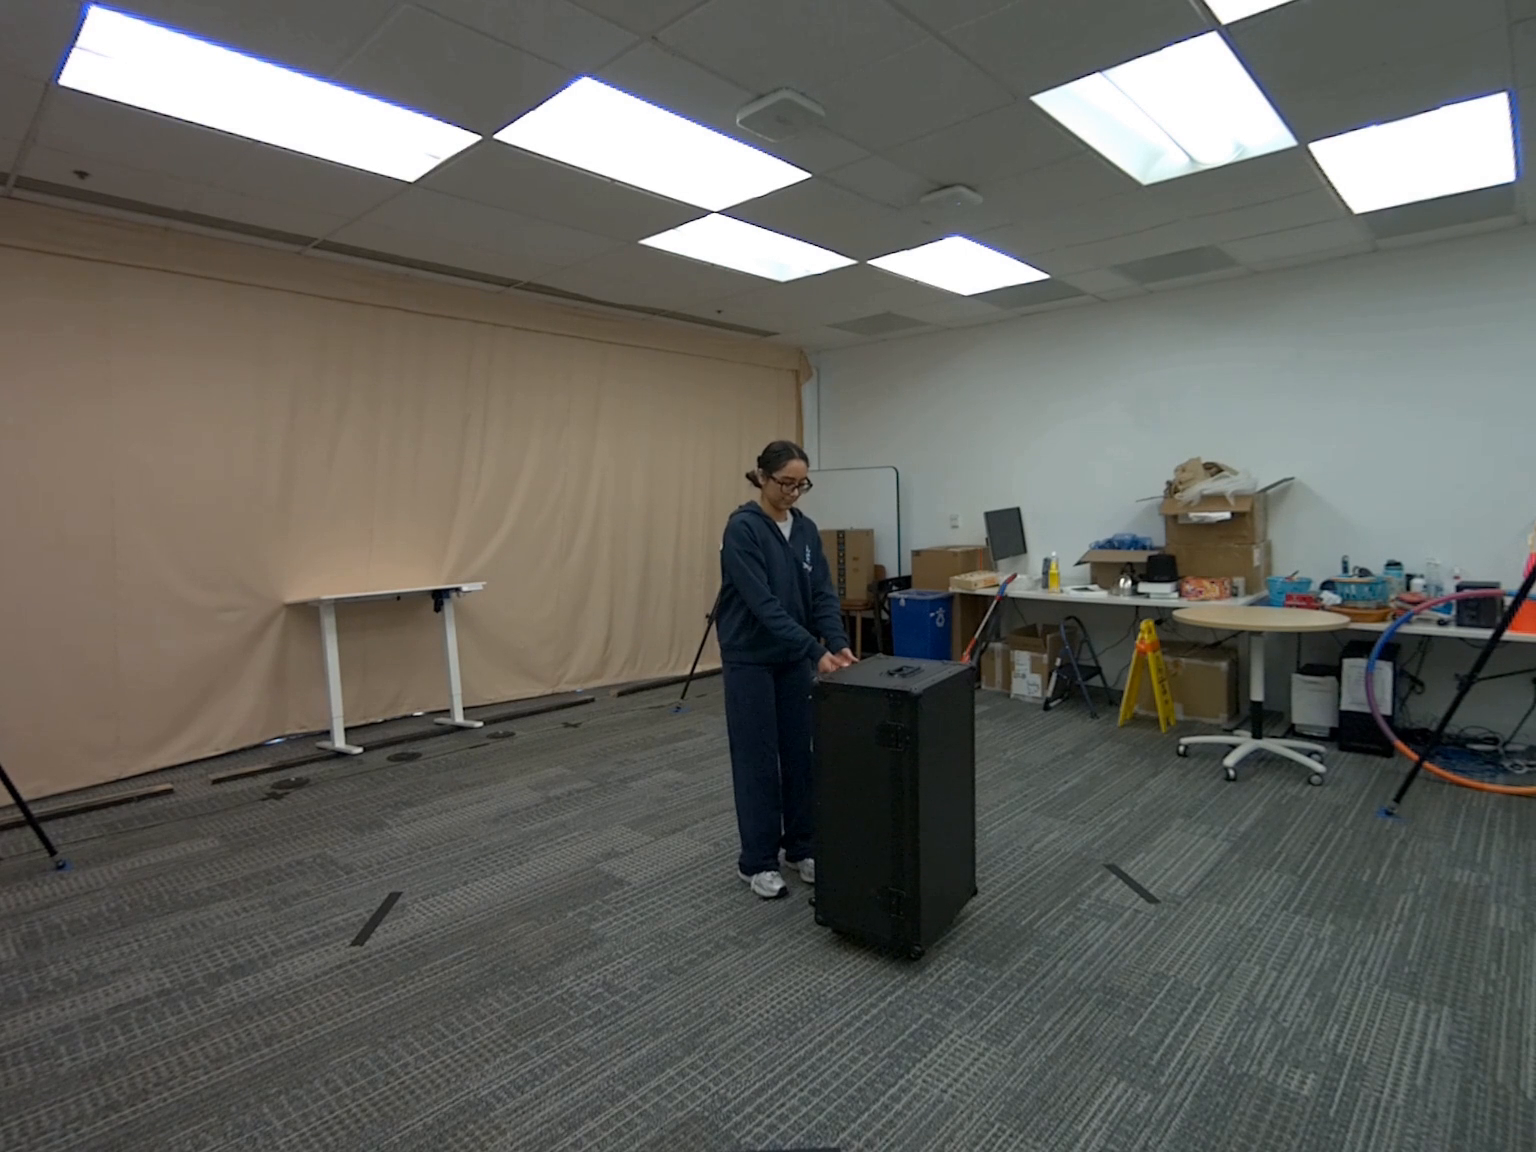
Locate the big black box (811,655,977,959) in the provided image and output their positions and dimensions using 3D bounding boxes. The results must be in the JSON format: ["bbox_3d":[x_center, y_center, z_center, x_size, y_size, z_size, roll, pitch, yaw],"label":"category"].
[{"bbox_3d":[0.424,0.740,2.725,0.537,0.859,0.385,1,4,32],"label":"big black box"}]
